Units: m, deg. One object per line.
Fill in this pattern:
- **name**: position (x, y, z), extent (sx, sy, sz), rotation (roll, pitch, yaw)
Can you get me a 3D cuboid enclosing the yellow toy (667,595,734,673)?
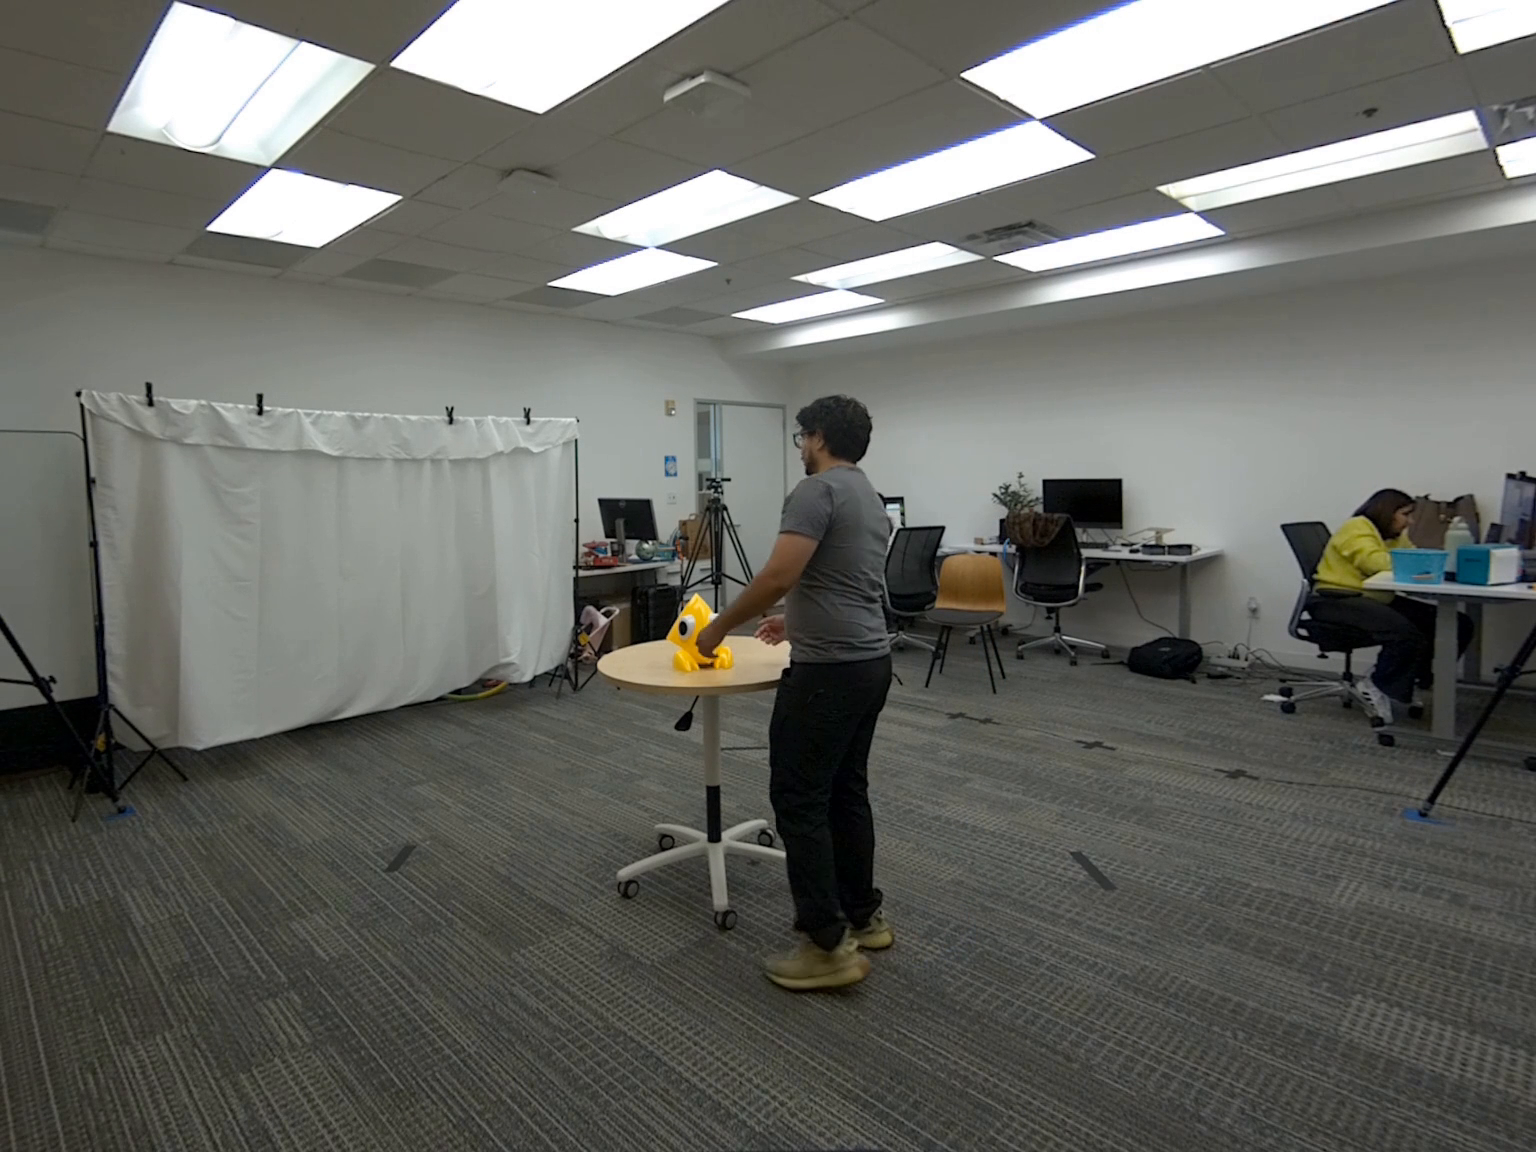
- **yellow toy**: position (-0.216, 0.178, 2.836), extent (0.202, 0.230, 0.196), rotation (-3, 4, -16)
